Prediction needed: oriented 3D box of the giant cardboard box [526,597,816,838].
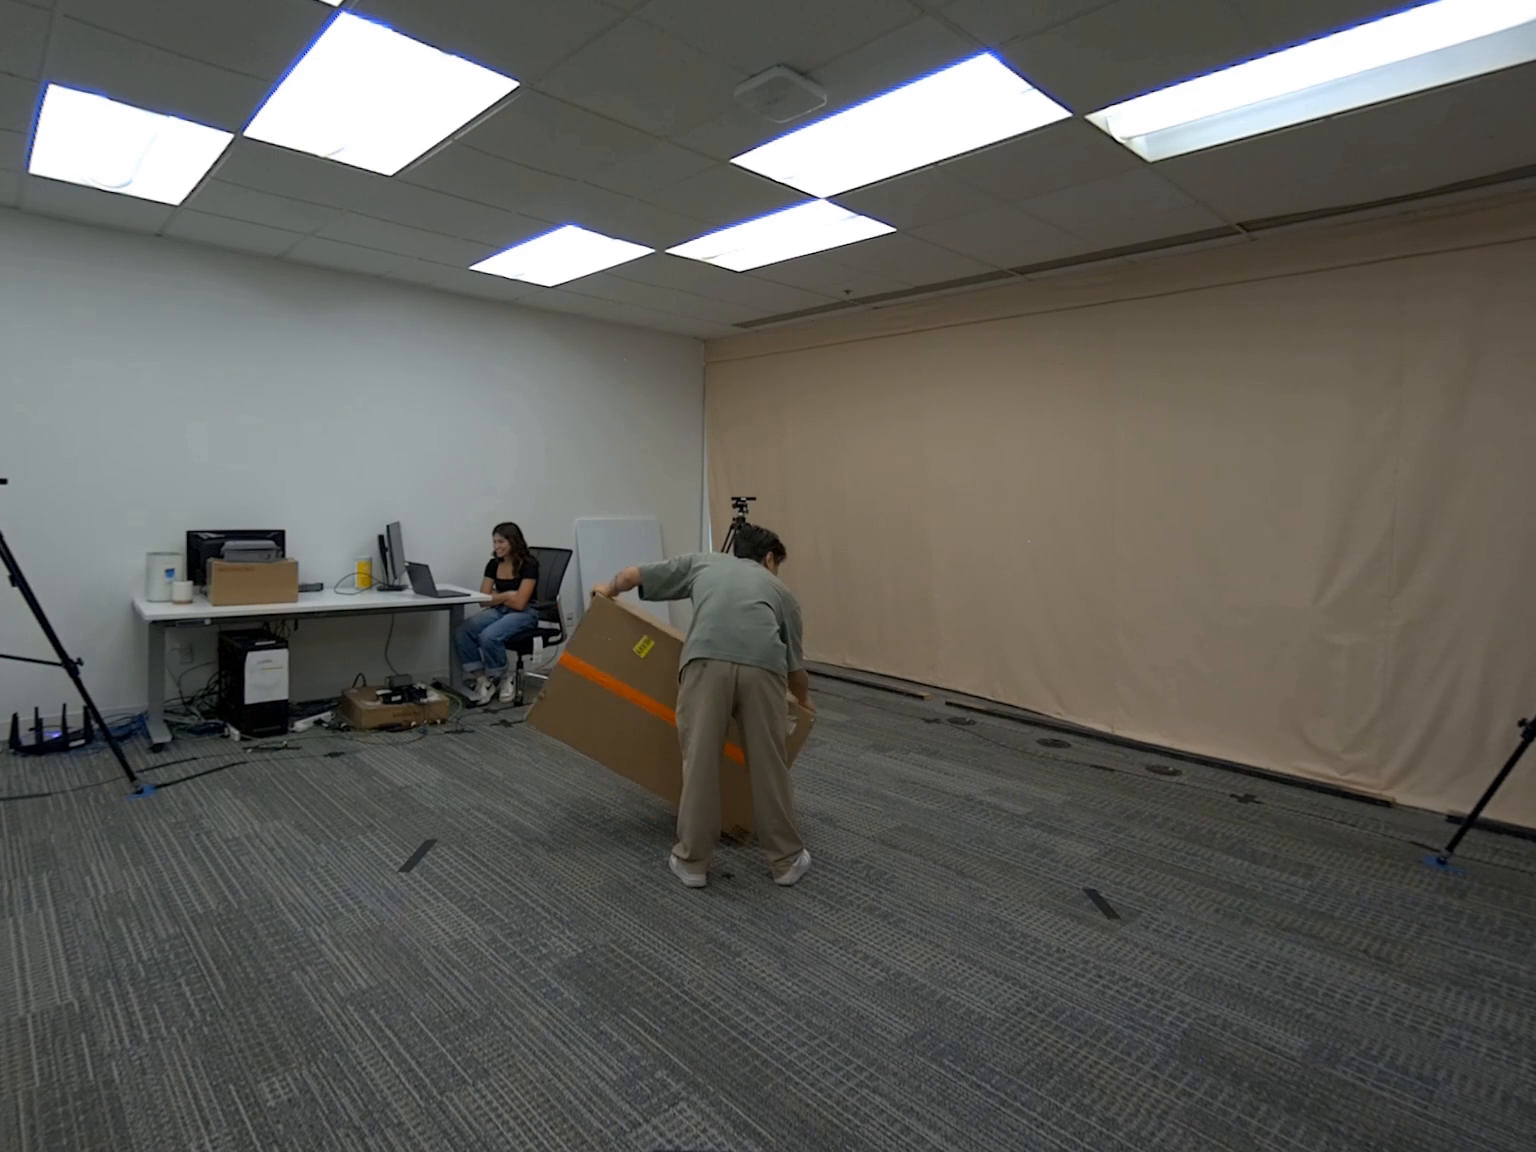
[{"bbox_3d":[-0.414,0.567,3.542,1.019,0.578,0.429,31,-2,-6],"label":"giant cardboard box"}]
